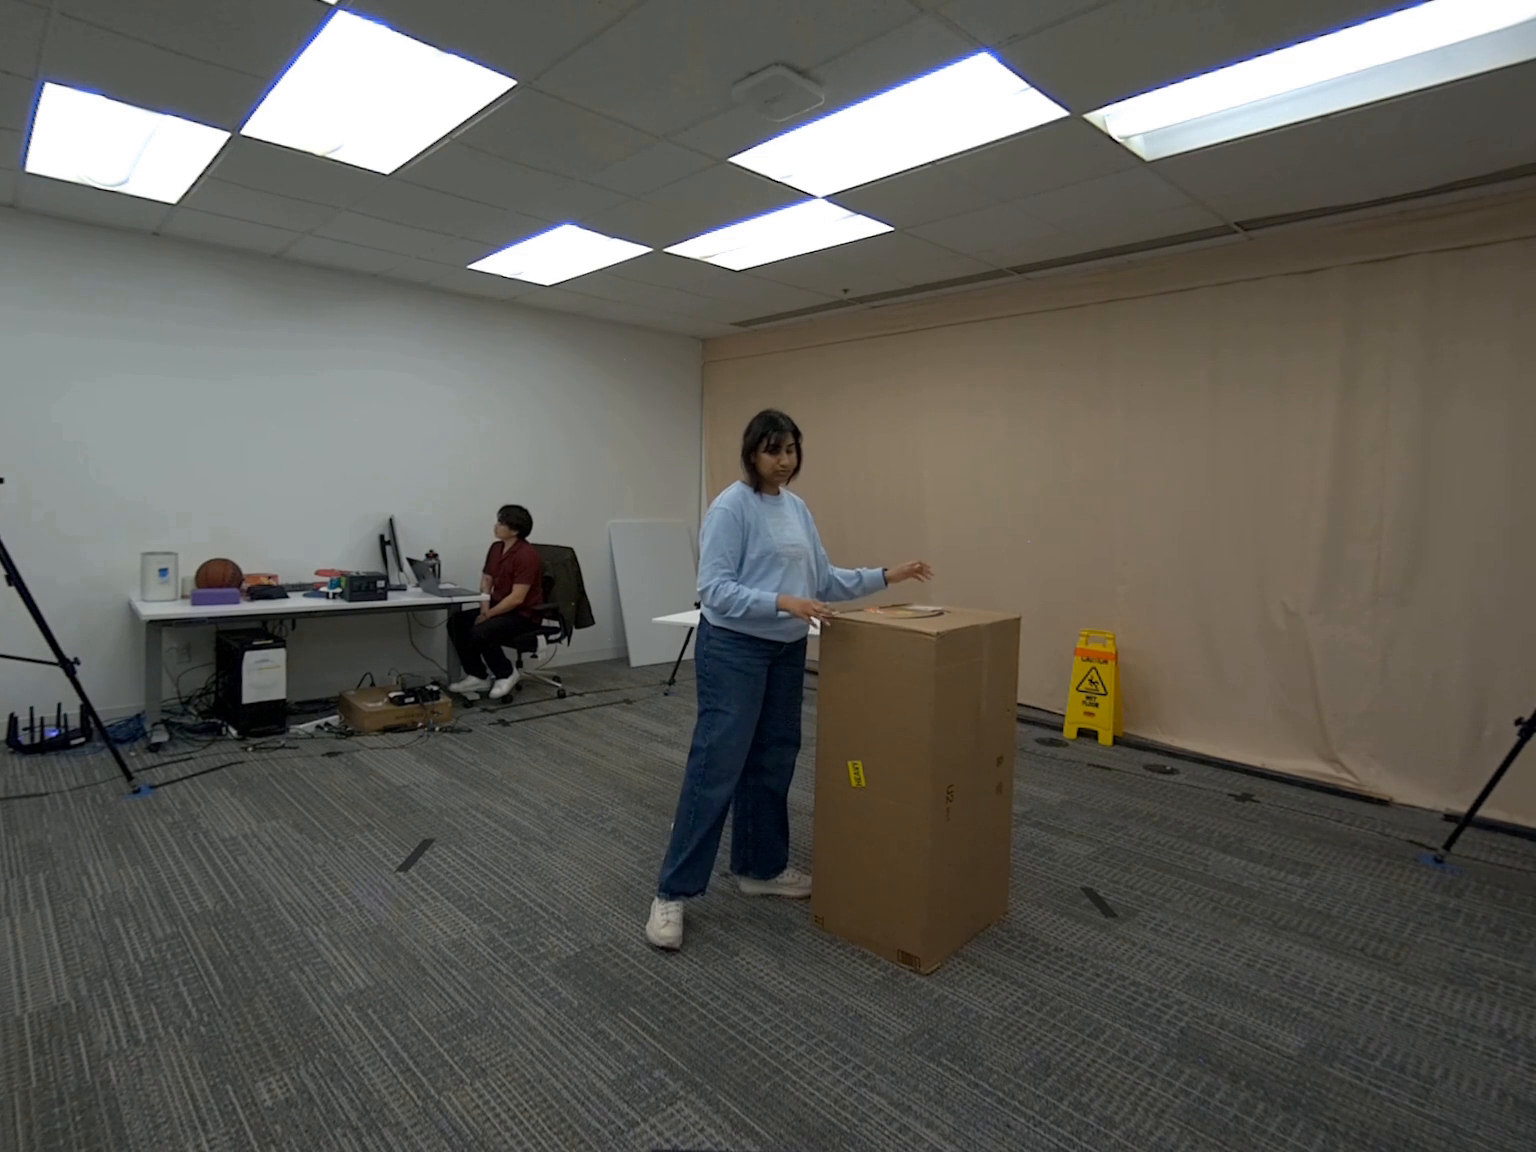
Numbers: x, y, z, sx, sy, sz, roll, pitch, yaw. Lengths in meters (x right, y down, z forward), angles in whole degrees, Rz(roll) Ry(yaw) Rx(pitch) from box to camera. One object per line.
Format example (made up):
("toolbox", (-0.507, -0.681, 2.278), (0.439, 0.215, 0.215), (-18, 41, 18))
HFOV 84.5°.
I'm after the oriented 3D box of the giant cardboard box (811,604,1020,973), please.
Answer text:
("giant cardboard box", (0.495, 0.642, 2.795), (0.437, 1.023, 0.564), (5, 5, 41))
